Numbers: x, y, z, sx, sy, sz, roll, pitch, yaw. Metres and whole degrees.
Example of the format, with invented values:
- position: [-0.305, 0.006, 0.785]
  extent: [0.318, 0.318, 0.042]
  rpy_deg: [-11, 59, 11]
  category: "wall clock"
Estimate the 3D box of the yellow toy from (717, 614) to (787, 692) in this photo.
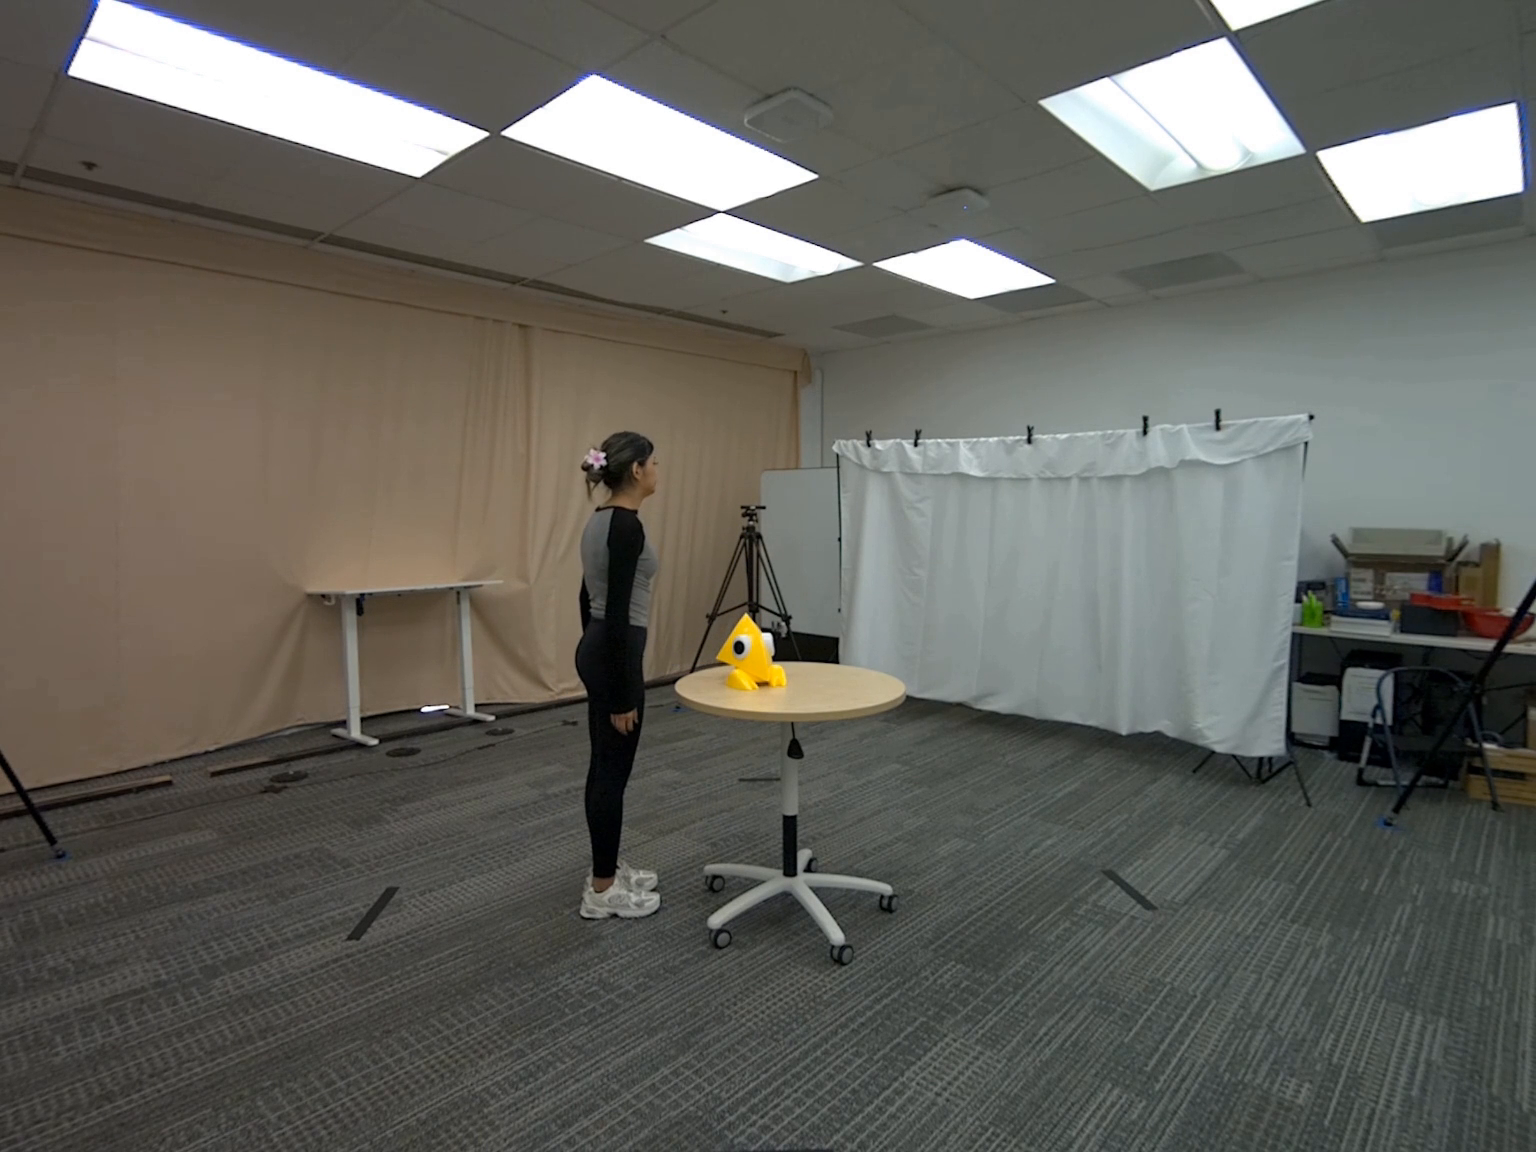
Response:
- position: [-0.040, 0.250, 2.832]
  extent: [0.200, 0.230, 0.198]
  rpy_deg: [-3, 6, -27]
  category: "yellow toy"
